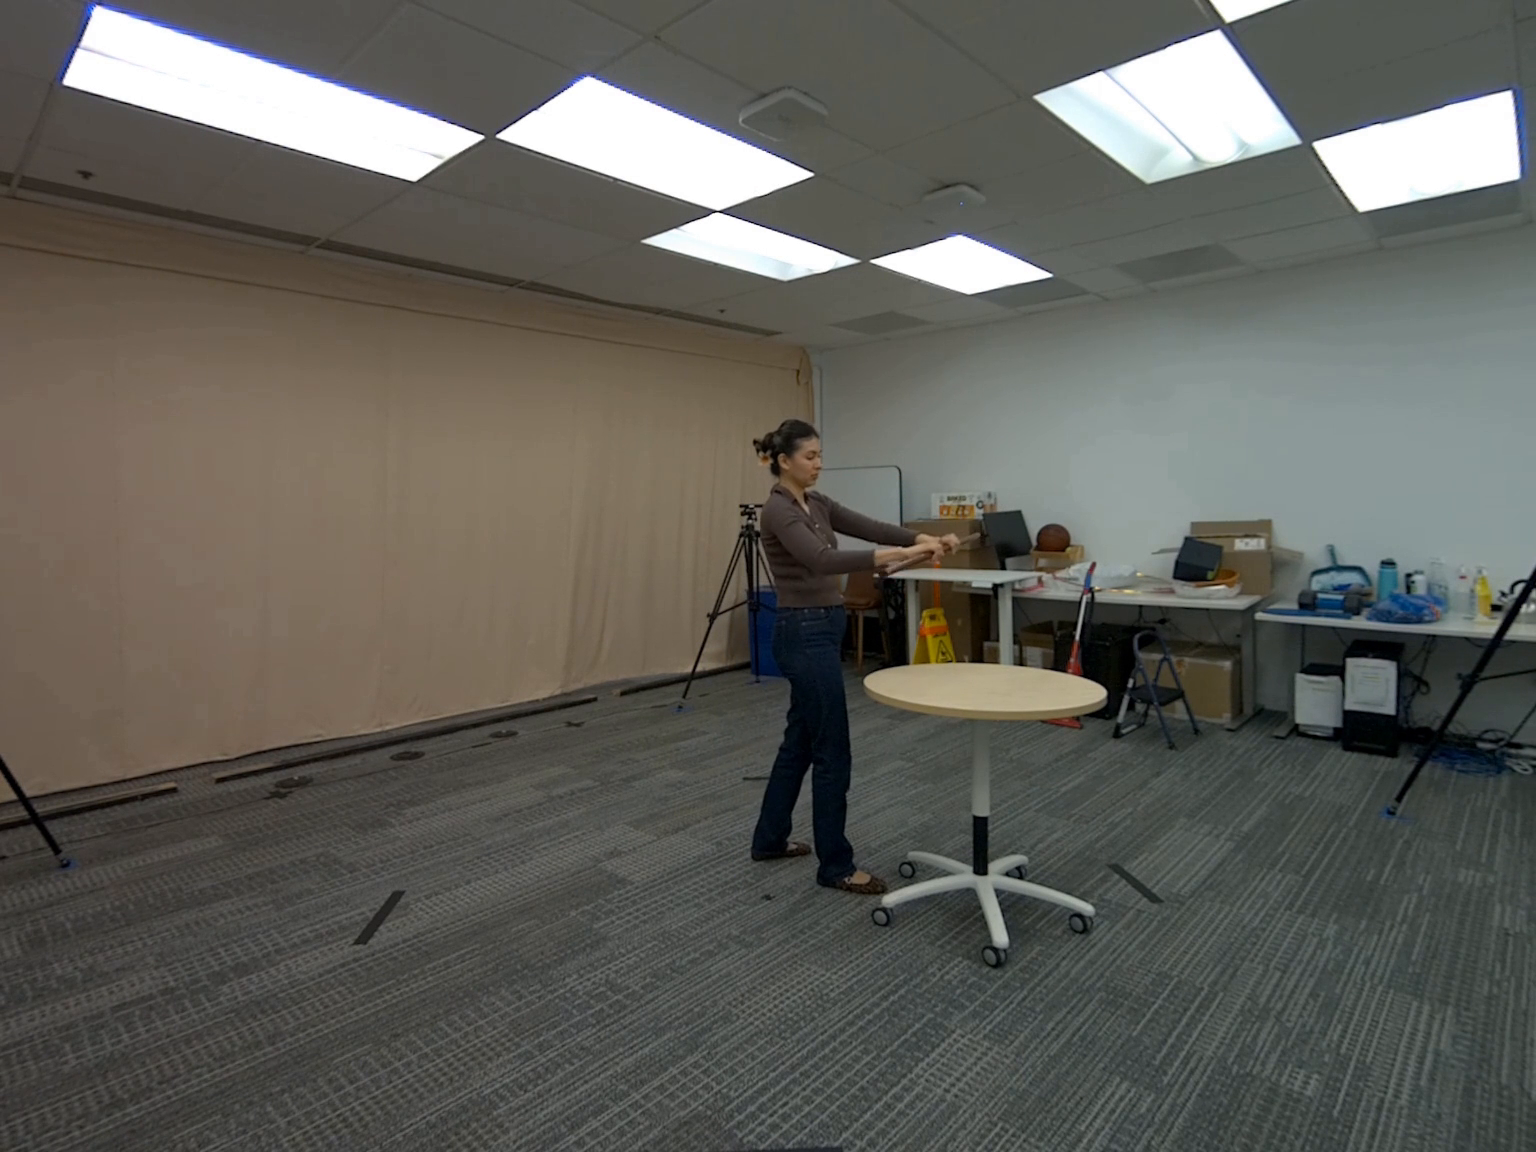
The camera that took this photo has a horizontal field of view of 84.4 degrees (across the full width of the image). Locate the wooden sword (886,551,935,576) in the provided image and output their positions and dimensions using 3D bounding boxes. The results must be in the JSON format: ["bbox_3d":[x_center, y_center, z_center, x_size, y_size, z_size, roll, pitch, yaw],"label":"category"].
[{"bbox_3d":[0.589,-0.080,2.872,0.024,0.051,1.003,-8,4,26],"label":"wooden sword"}]
